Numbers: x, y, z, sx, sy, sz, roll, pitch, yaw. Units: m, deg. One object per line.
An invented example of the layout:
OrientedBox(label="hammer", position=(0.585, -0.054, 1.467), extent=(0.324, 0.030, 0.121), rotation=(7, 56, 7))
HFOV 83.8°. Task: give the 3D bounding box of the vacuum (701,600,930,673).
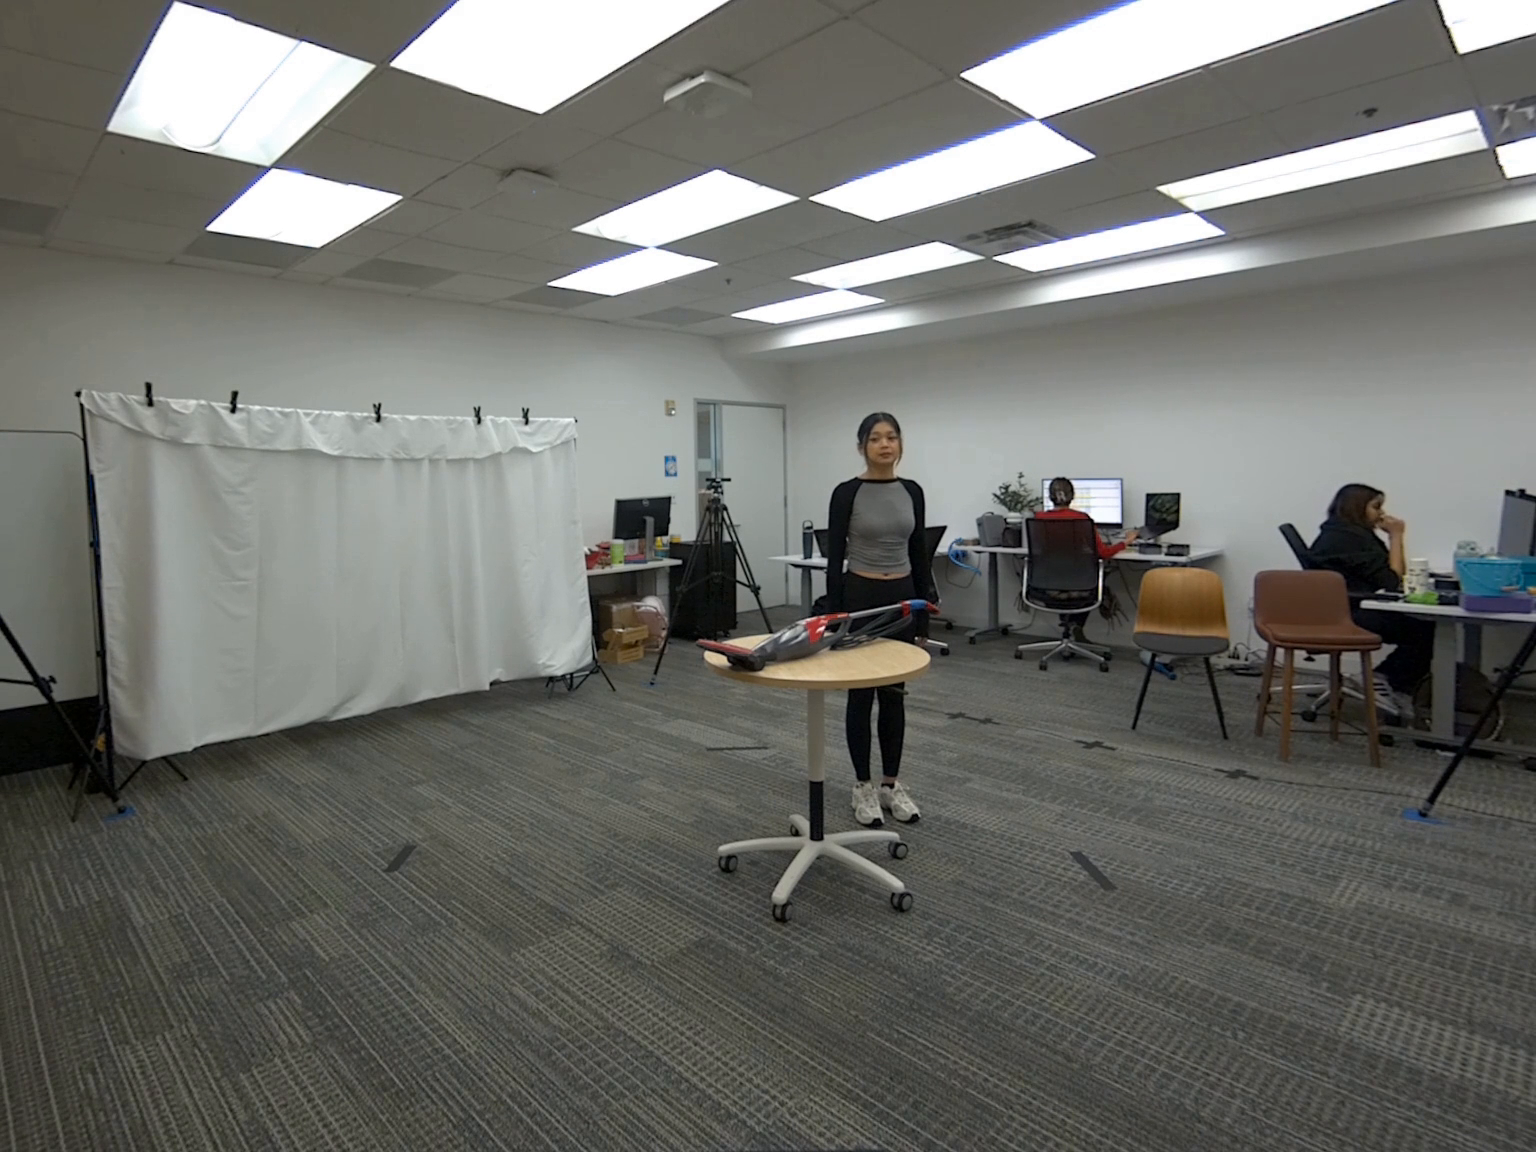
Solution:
OrientedBox(label="vacuum", position=(0.277, 0.207, 3.020), extent=(1.023, 0.143, 0.260), rotation=(-9, 9, -42))
